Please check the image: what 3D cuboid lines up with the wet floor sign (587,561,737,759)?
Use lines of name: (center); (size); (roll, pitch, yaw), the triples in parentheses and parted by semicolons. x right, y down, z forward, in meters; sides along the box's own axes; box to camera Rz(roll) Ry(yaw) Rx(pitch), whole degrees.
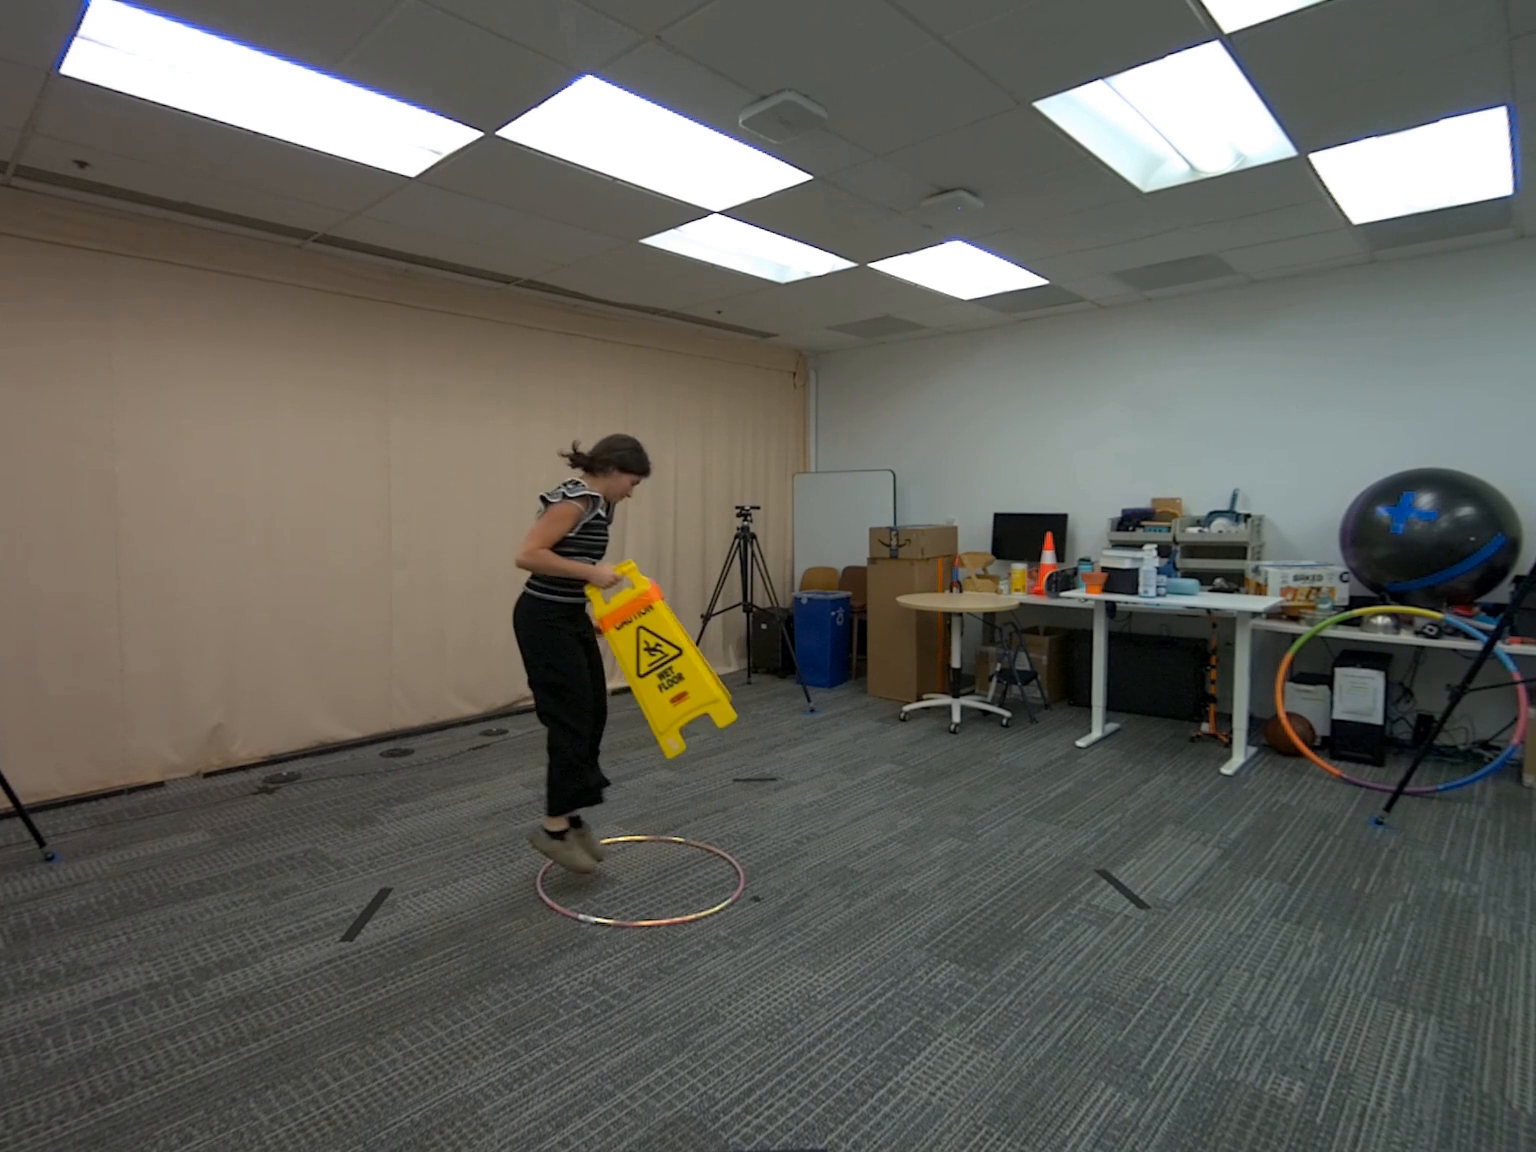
wet floor sign: (-0.402, 0.310, 2.960); (0.282, 0.642, 0.292); (-29, 6, -3)
